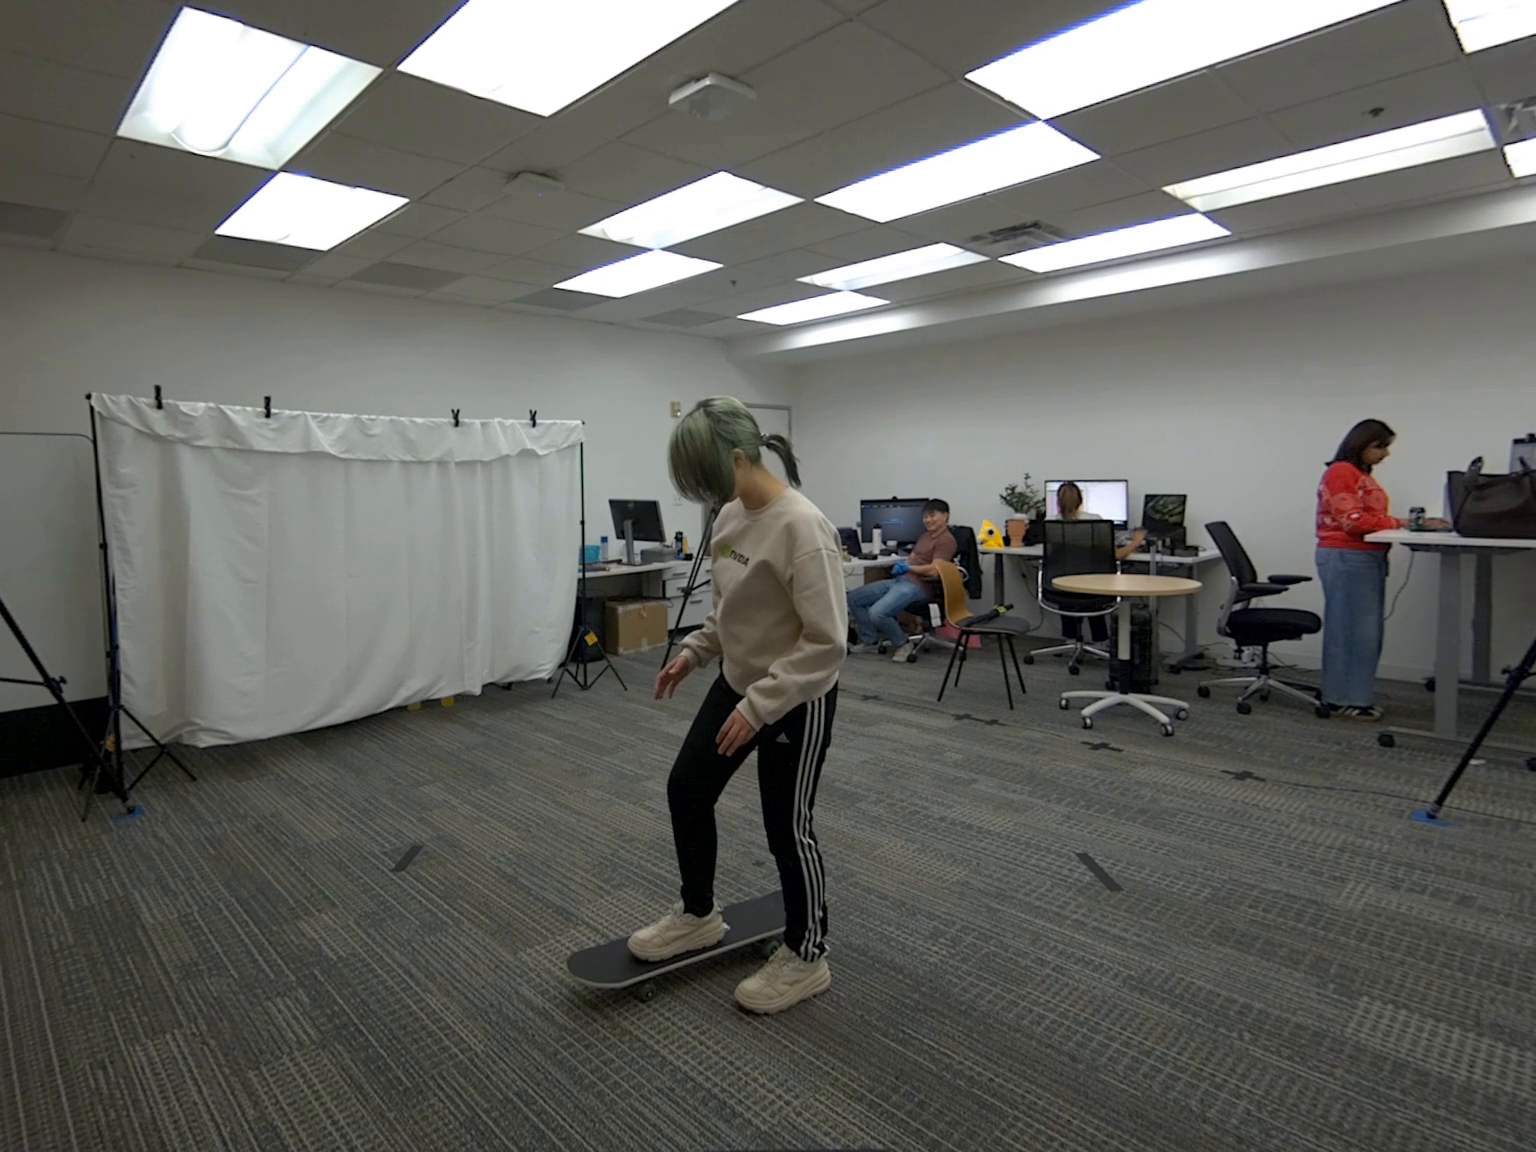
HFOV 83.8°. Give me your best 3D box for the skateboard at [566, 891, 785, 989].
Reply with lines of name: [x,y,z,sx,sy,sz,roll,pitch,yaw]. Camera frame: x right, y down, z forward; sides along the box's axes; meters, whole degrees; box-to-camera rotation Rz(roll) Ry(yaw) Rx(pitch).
skateboard: [-0.196,1.075,2.470,0.767,0.110,0.199,-5,8,-30]
